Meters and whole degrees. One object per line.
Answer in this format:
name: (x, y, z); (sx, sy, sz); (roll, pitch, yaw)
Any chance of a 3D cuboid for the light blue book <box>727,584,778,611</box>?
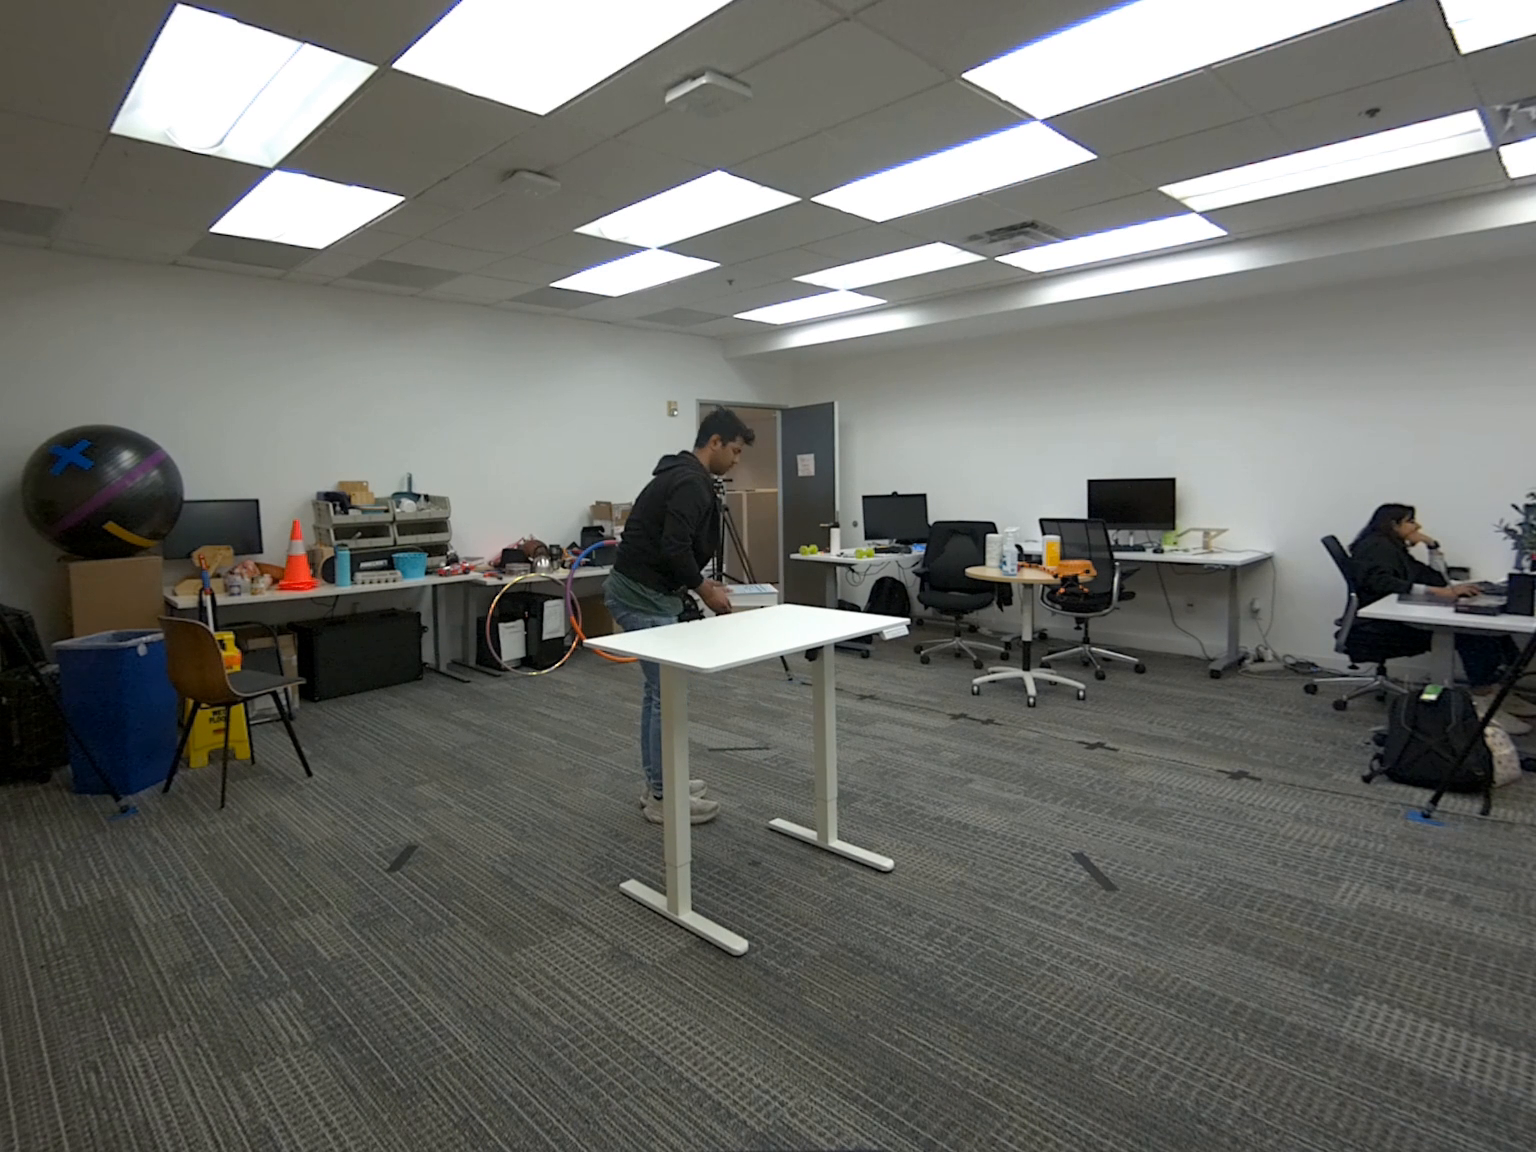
light blue book: (-0.104, 0.095, 3.697); (0.259, 0.058, 0.194); (-1, 10, -9)
